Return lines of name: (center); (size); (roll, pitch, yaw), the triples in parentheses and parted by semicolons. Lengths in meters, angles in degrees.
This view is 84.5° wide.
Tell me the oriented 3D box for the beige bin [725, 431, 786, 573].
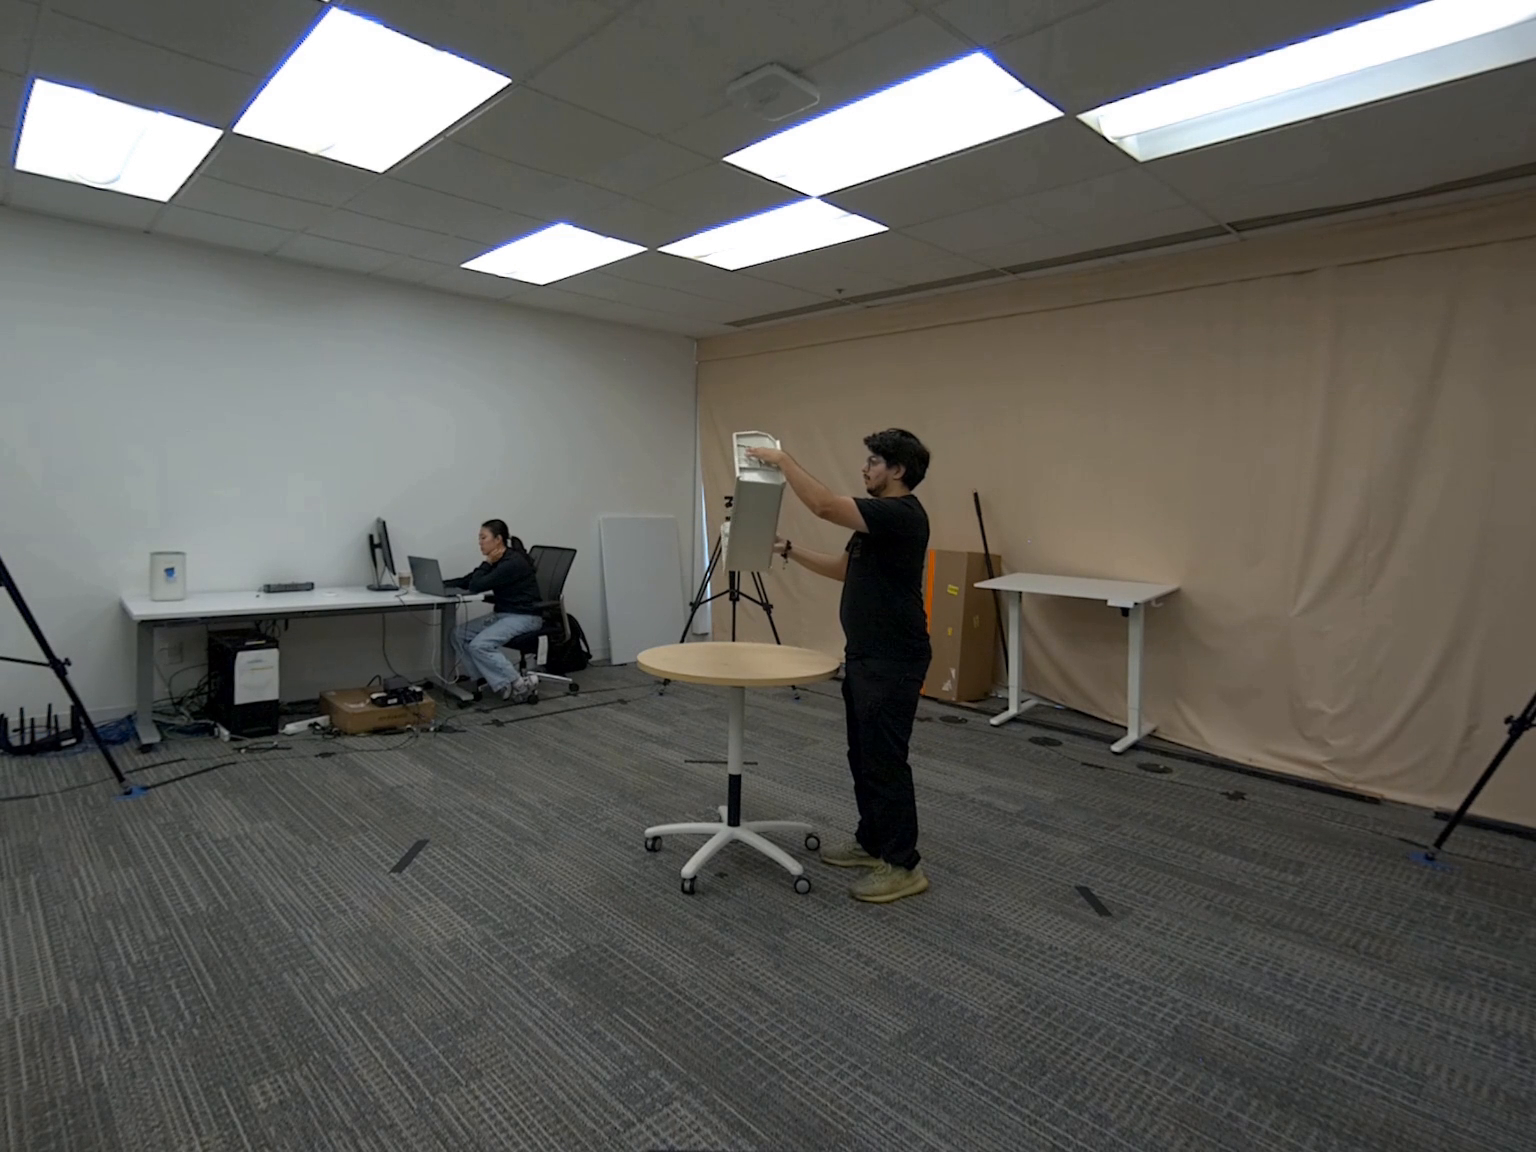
beige bin: (-0.069, -0.269, 3.182); (0.187, 0.415, 0.386); (6, 35, -9)
